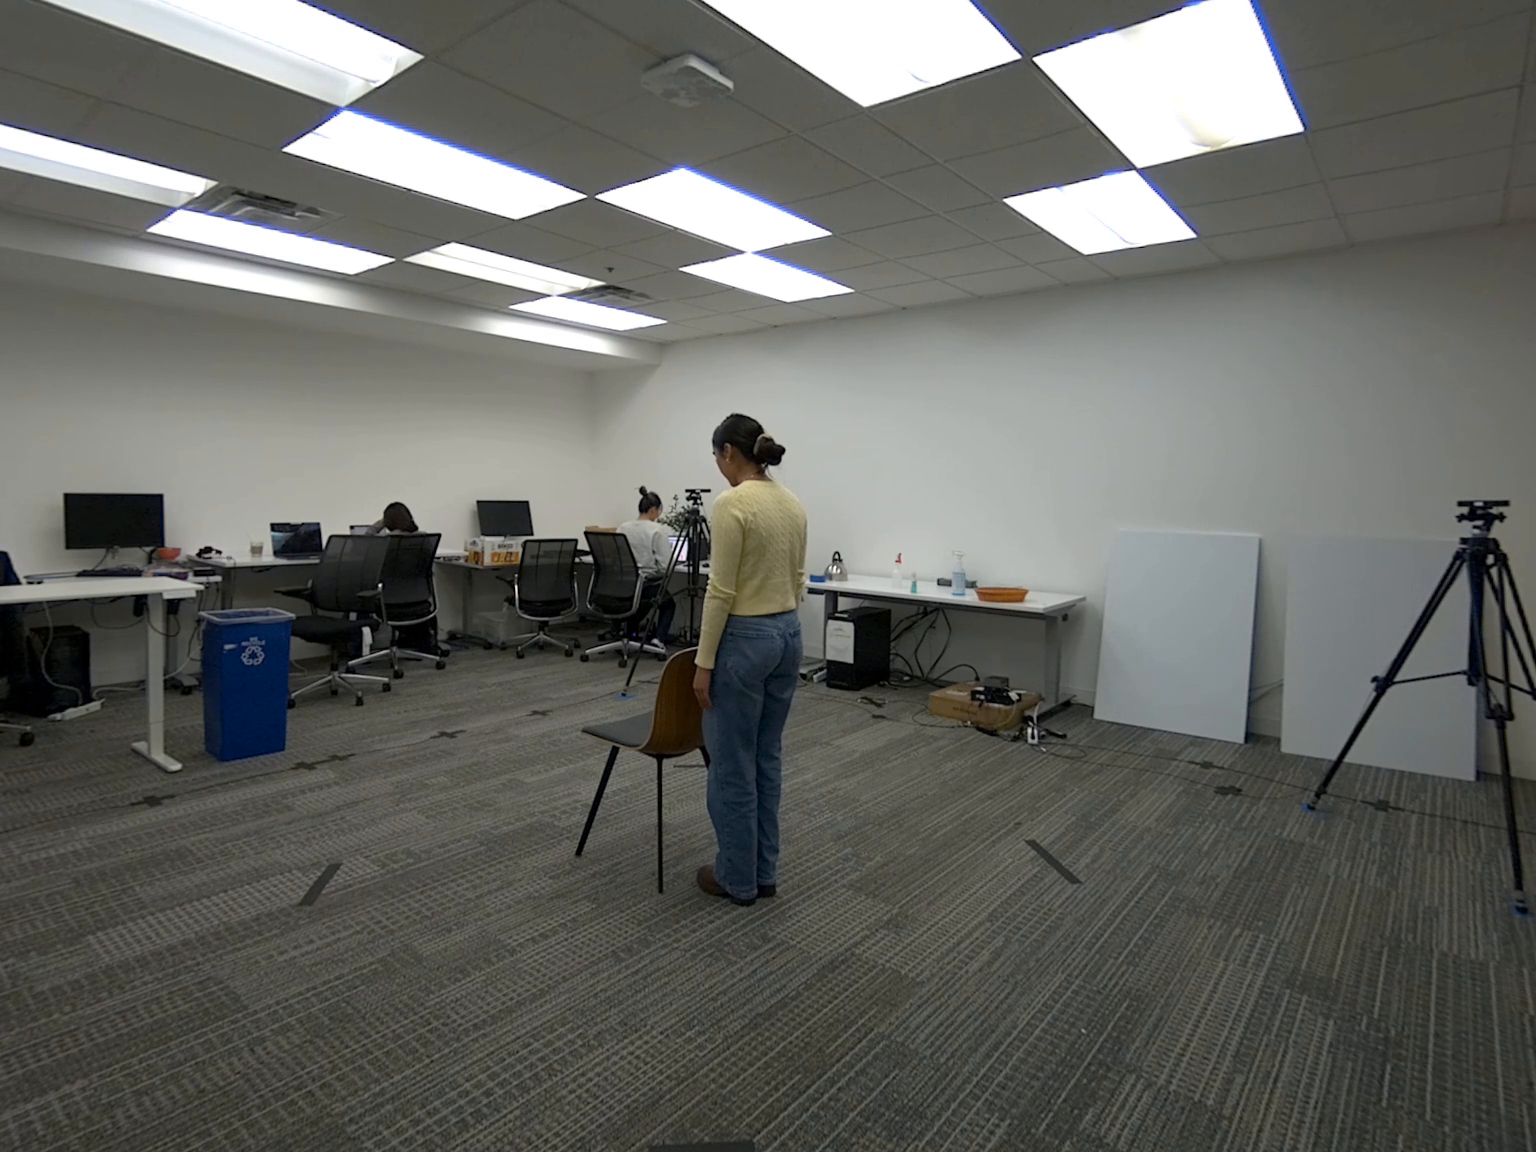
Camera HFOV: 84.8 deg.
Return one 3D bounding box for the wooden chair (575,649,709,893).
[{"bbox_3d":[-0.424,0.633,3.213,0.542,0.873,0.464,9,8,39],"label":"wooden chair"}]
